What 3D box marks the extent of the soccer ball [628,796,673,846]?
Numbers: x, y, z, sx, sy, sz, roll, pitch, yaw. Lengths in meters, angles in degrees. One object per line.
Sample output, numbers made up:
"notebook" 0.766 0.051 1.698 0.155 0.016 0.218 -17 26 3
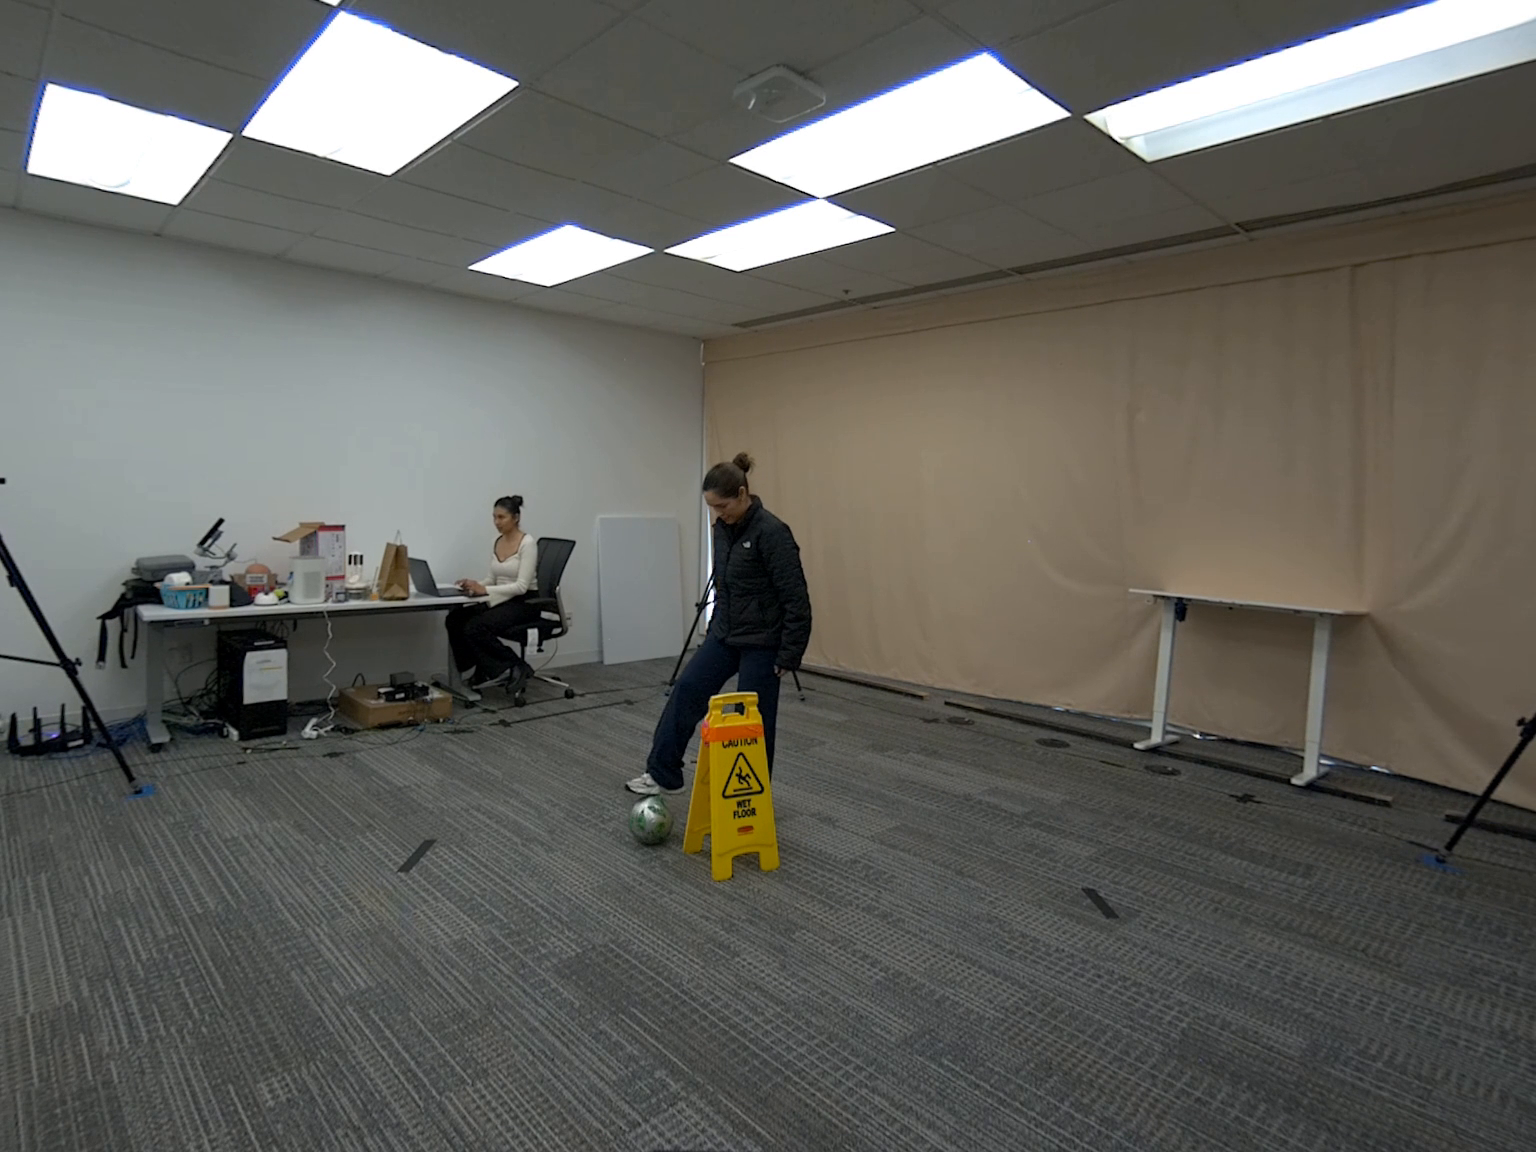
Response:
"soccer ball" -0.469 0.968 3.384 0.187 0.187 0.188 1 4 -1
